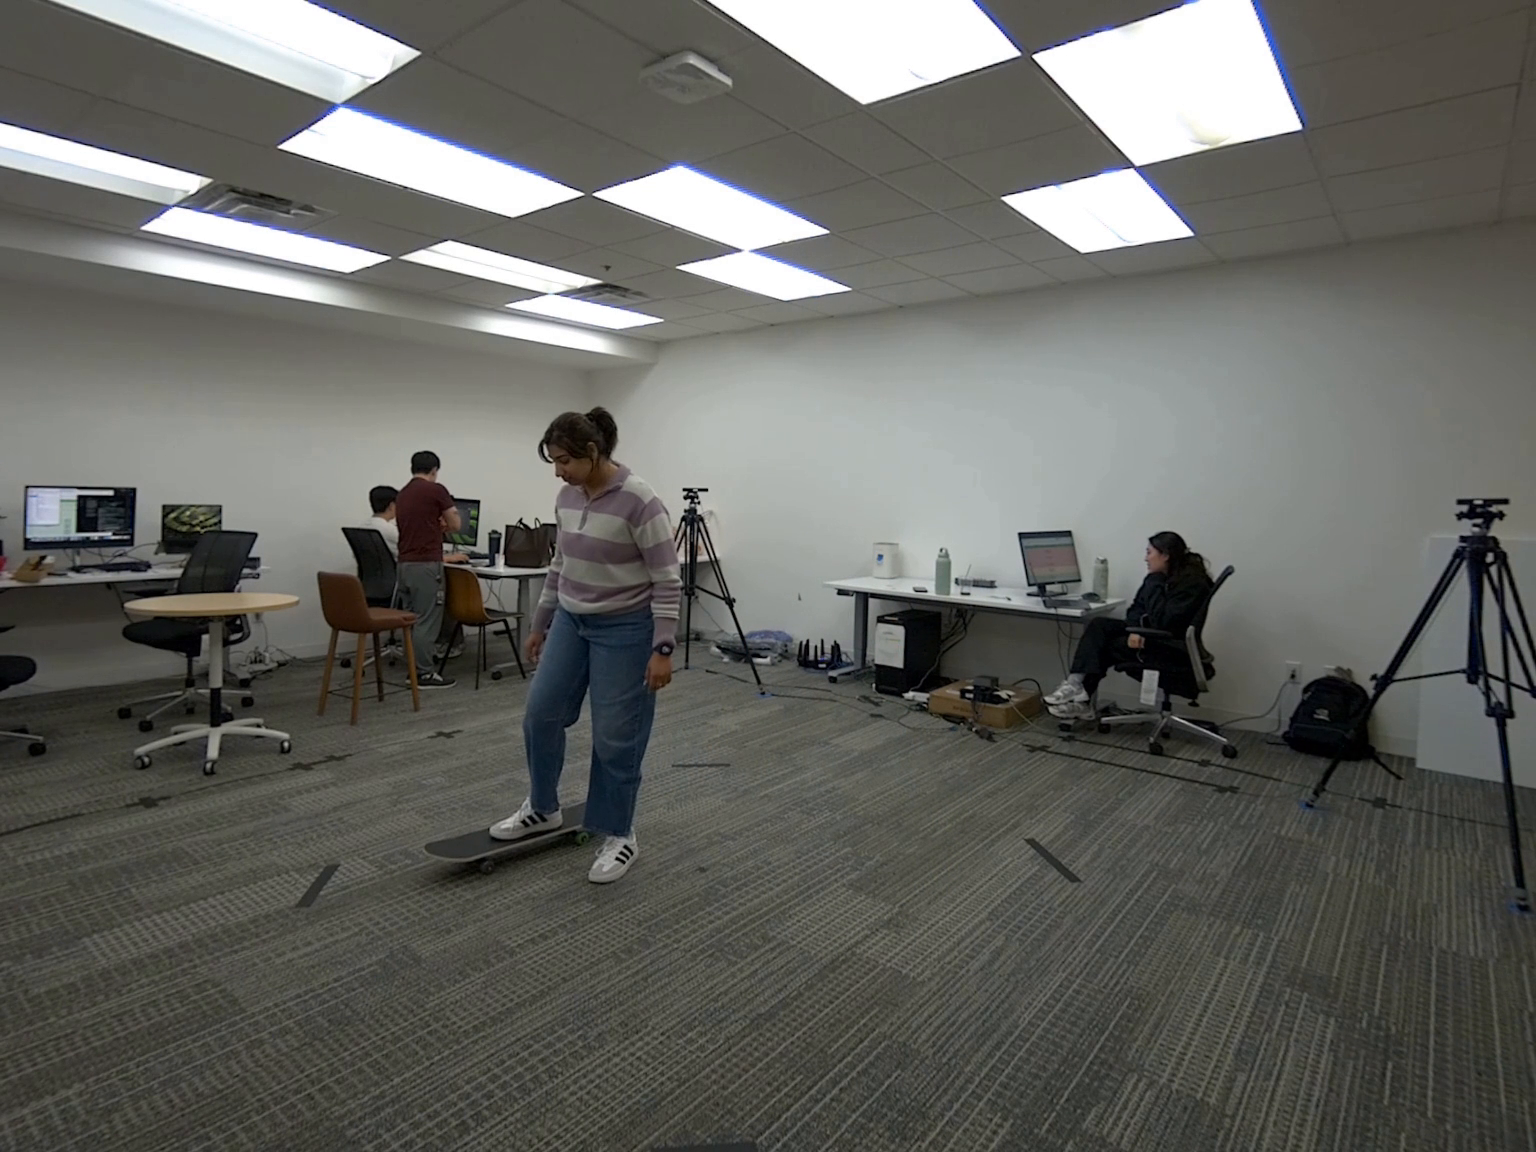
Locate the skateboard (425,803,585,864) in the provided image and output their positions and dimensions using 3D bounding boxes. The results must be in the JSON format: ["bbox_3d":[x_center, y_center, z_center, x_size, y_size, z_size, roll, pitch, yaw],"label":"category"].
[{"bbox_3d":[-0.929,0.989,3.233,0.762,0.110,0.200,-4,8,-43],"label":"skateboard"}]
